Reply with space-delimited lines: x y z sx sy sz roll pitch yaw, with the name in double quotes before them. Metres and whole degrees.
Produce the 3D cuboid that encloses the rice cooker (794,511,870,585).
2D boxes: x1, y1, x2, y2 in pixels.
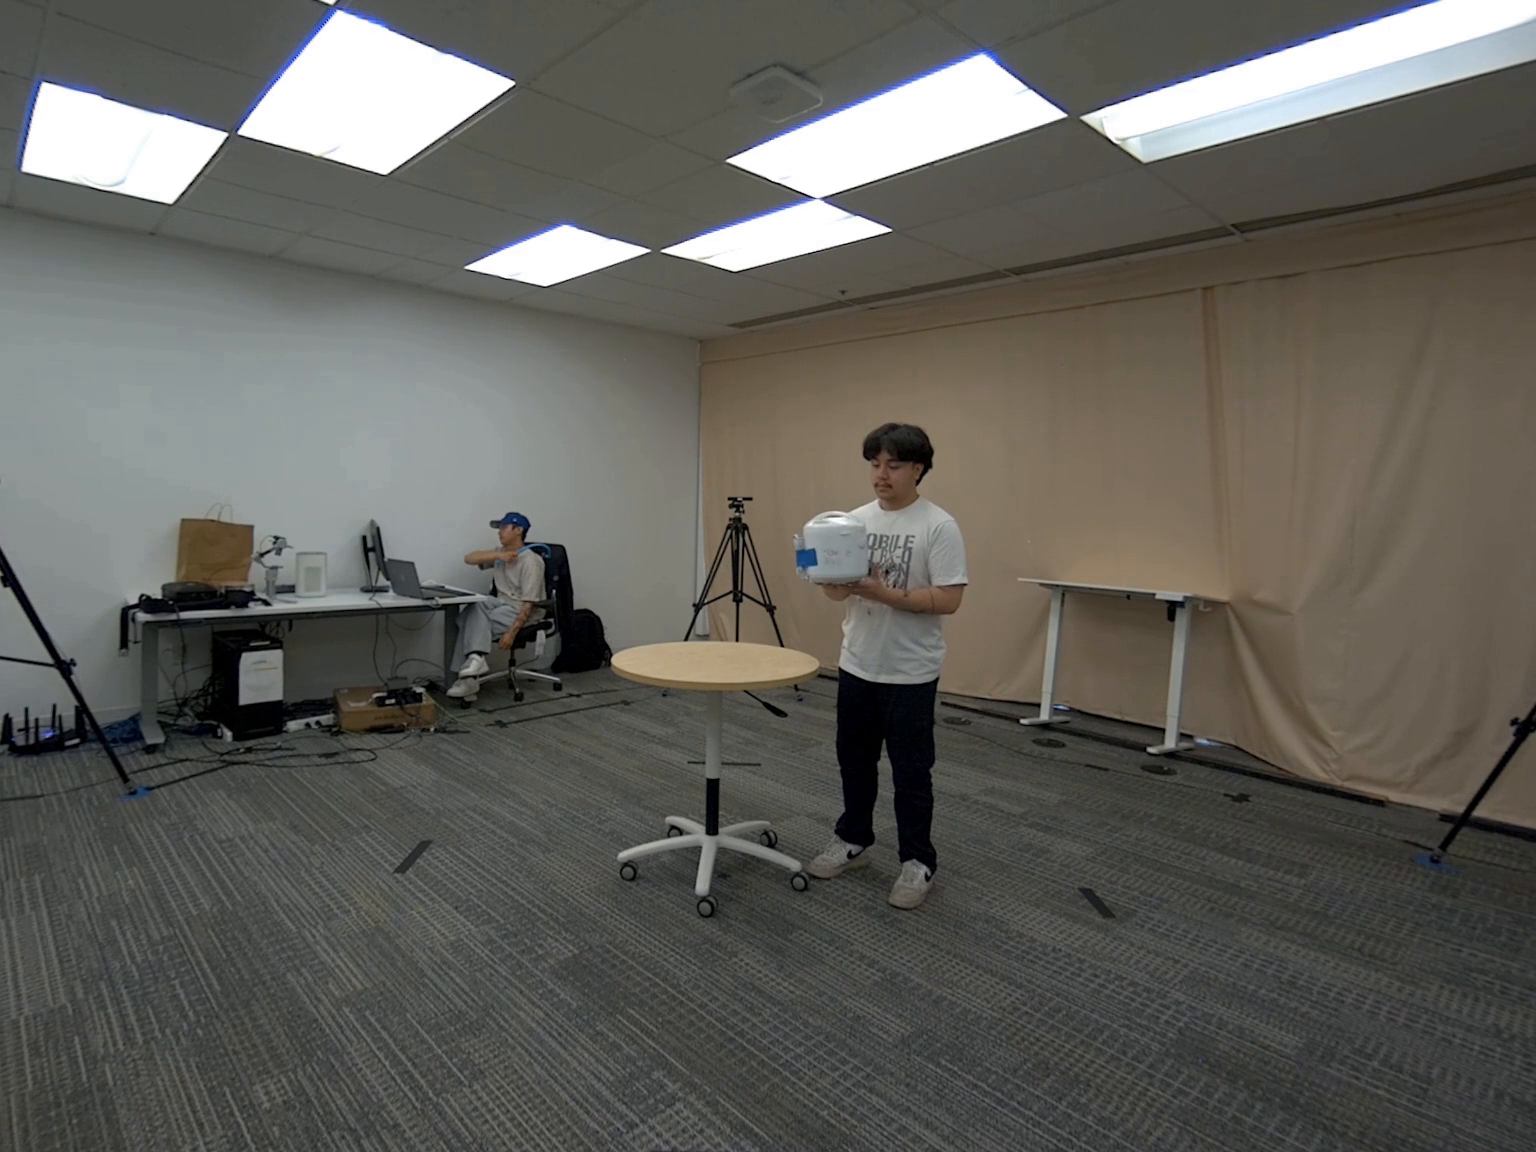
"rice cooker" 0.219 -0.097 2.797 0.226 0.232 0.213 2 8 39
